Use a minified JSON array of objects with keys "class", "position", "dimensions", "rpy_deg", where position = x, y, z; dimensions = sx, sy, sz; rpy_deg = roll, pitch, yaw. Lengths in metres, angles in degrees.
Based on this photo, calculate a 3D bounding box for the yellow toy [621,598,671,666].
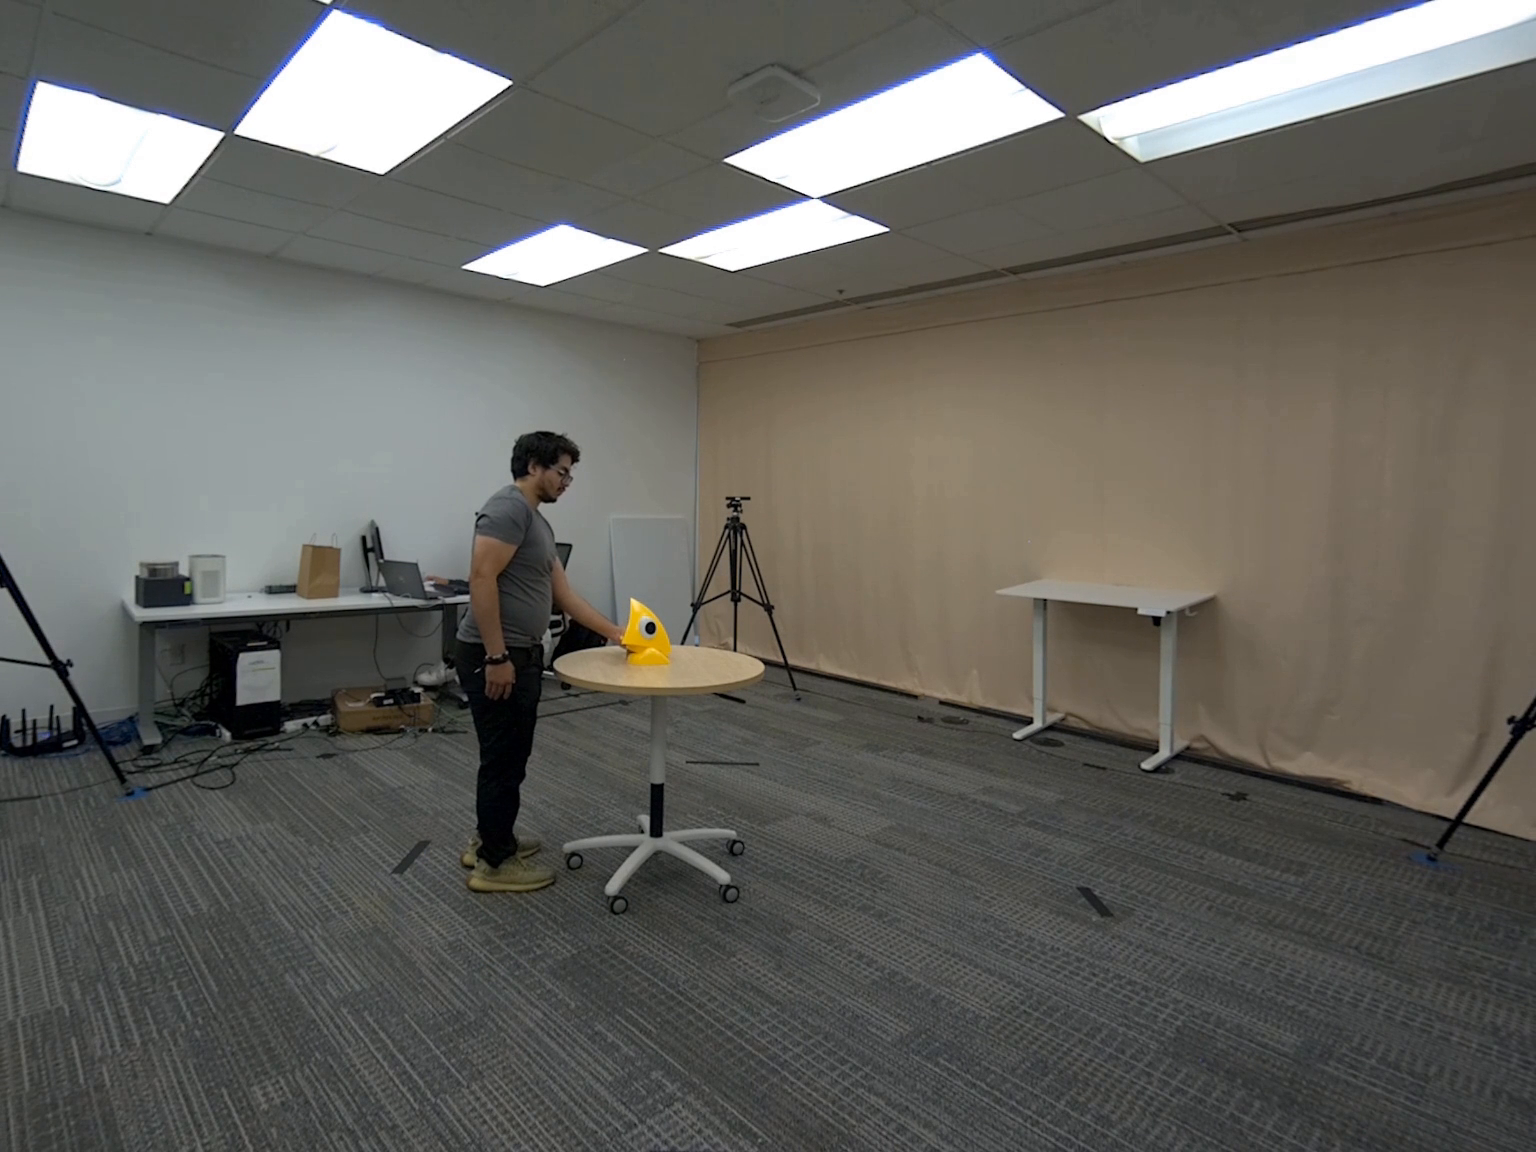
[{"class":"yellow toy","position":[-0.452,0.205,3.125],"dimensions":[0.191,0.230,0.207],"rpy_deg":[3,5,-10]}]
